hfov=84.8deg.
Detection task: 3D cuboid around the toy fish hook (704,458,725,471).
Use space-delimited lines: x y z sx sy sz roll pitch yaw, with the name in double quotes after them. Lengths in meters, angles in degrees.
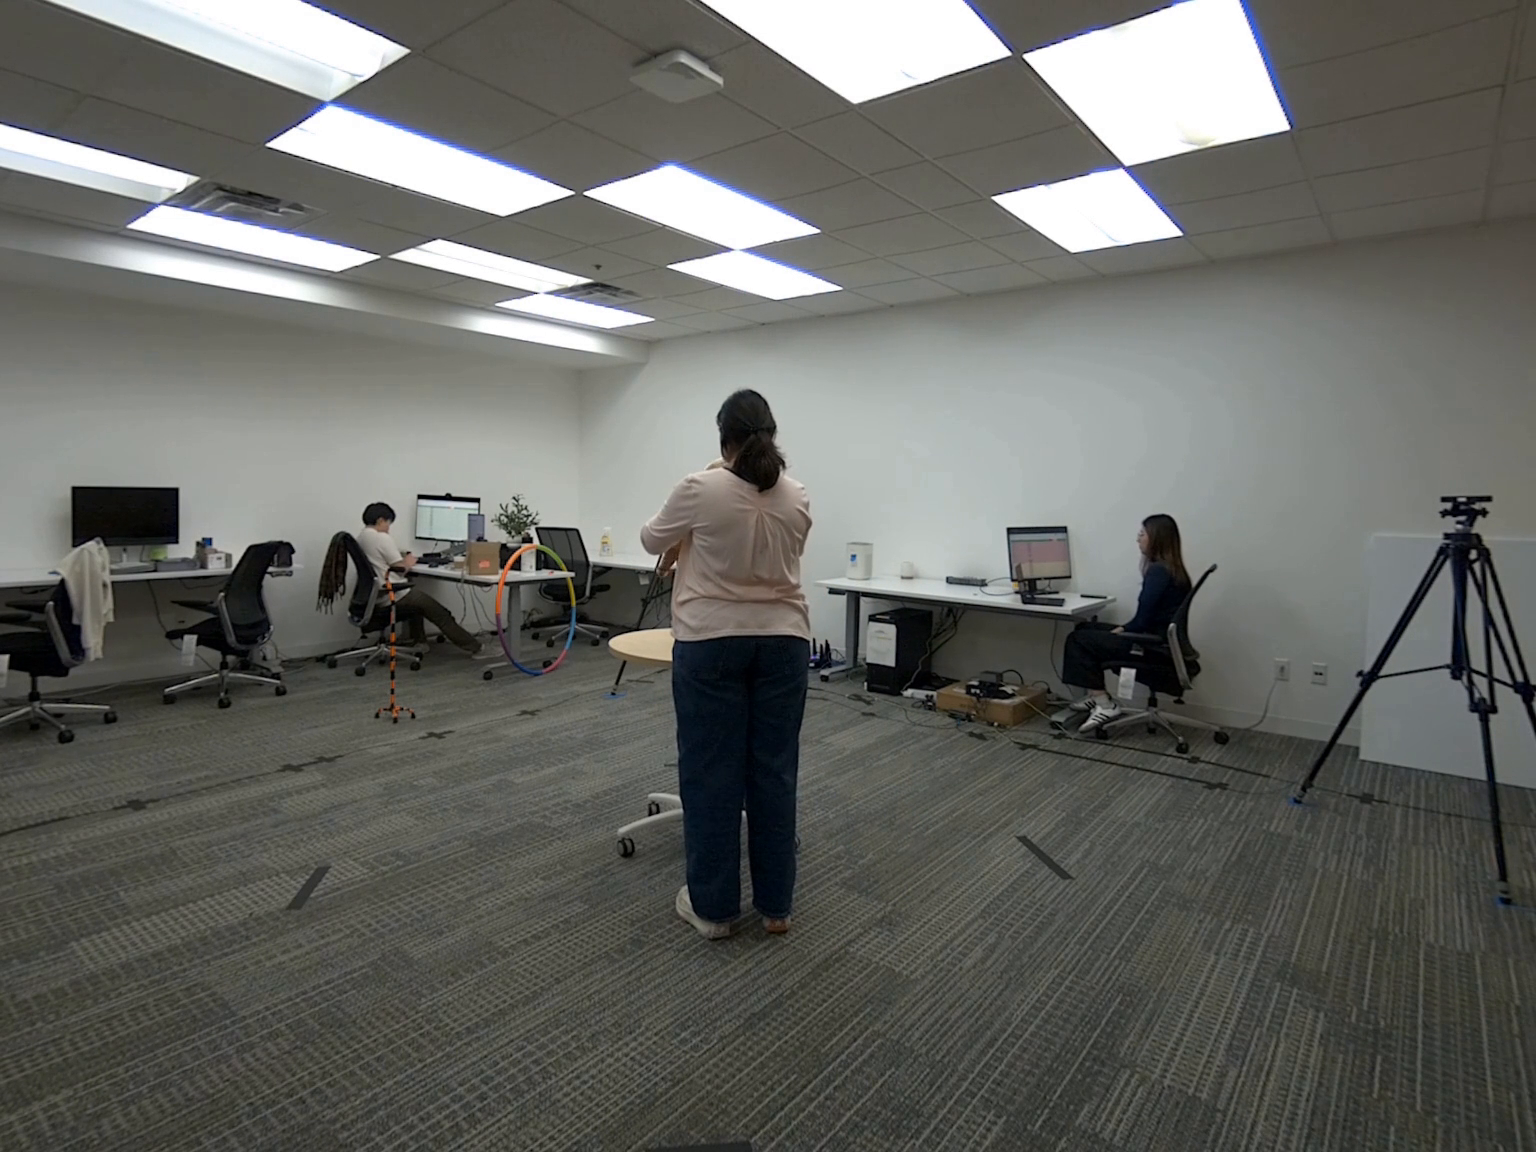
-0.237 -0.190 3.047 0.225 0.508 0.048 27 -10 1 "toy fish hook"
